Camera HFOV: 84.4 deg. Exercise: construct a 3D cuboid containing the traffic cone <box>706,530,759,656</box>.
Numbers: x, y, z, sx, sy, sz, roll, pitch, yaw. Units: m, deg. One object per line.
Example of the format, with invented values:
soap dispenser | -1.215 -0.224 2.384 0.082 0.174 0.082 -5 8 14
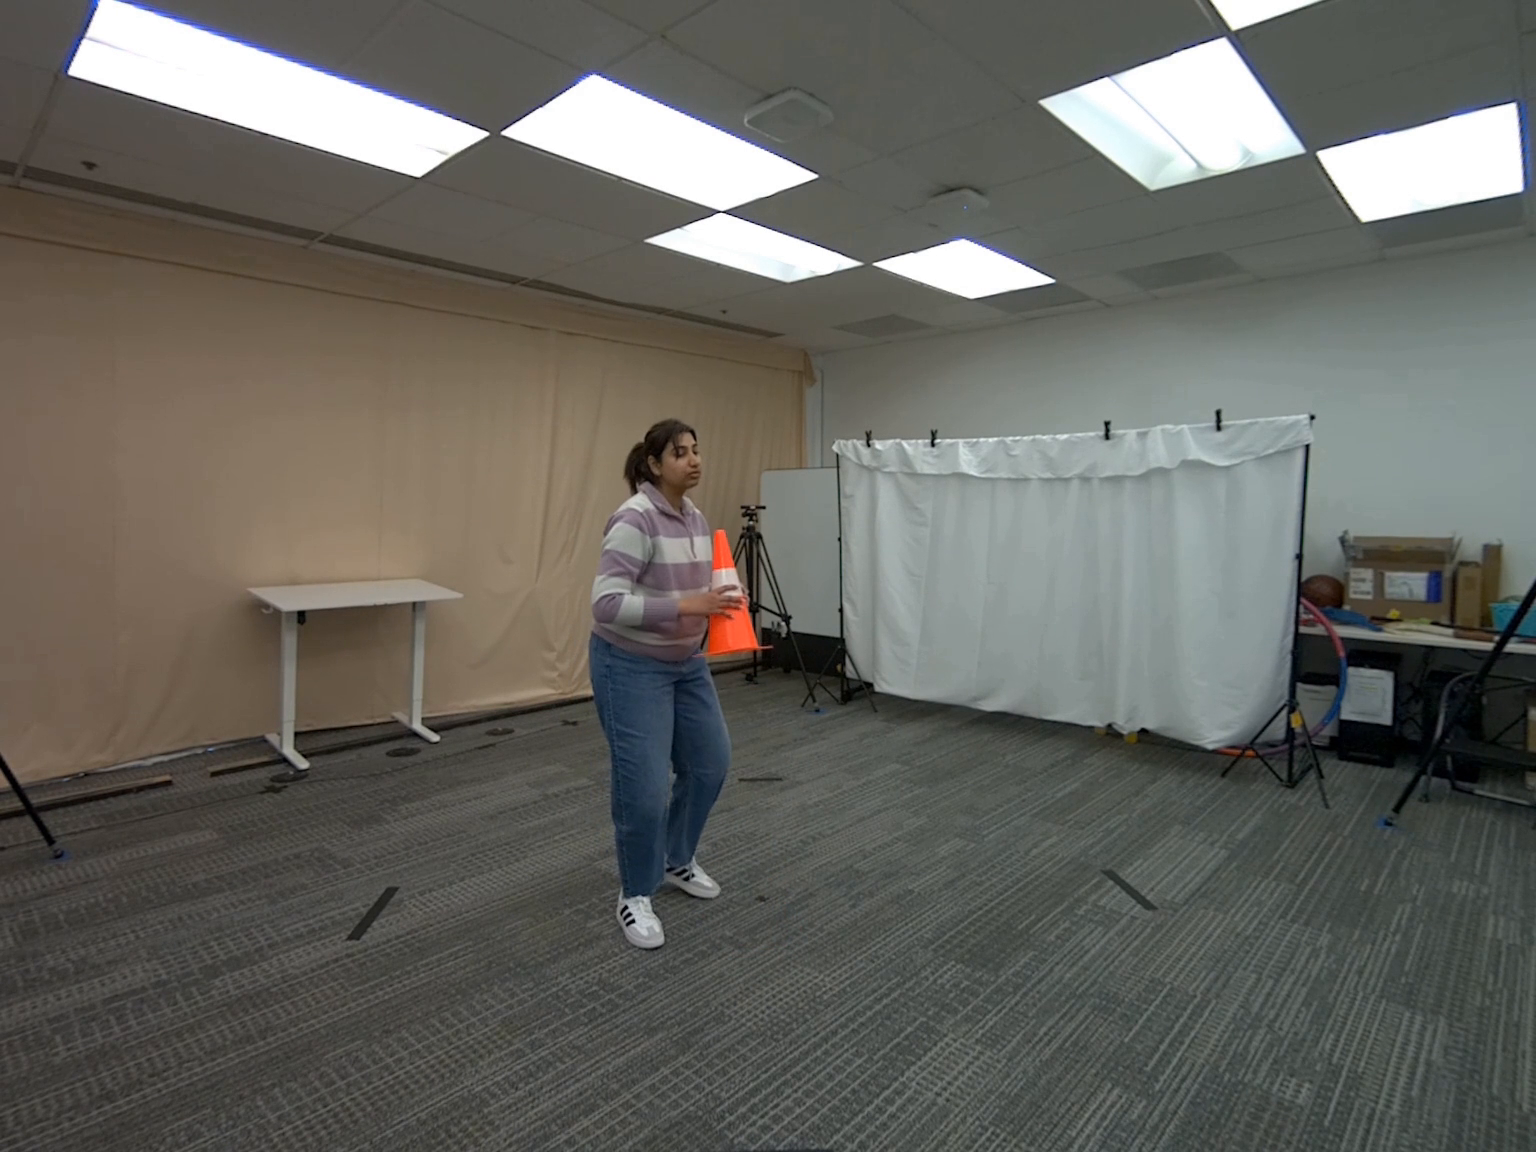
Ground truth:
traffic cone | -0.132 0.054 2.613 0.207 0.385 0.200 -9 -6 21
